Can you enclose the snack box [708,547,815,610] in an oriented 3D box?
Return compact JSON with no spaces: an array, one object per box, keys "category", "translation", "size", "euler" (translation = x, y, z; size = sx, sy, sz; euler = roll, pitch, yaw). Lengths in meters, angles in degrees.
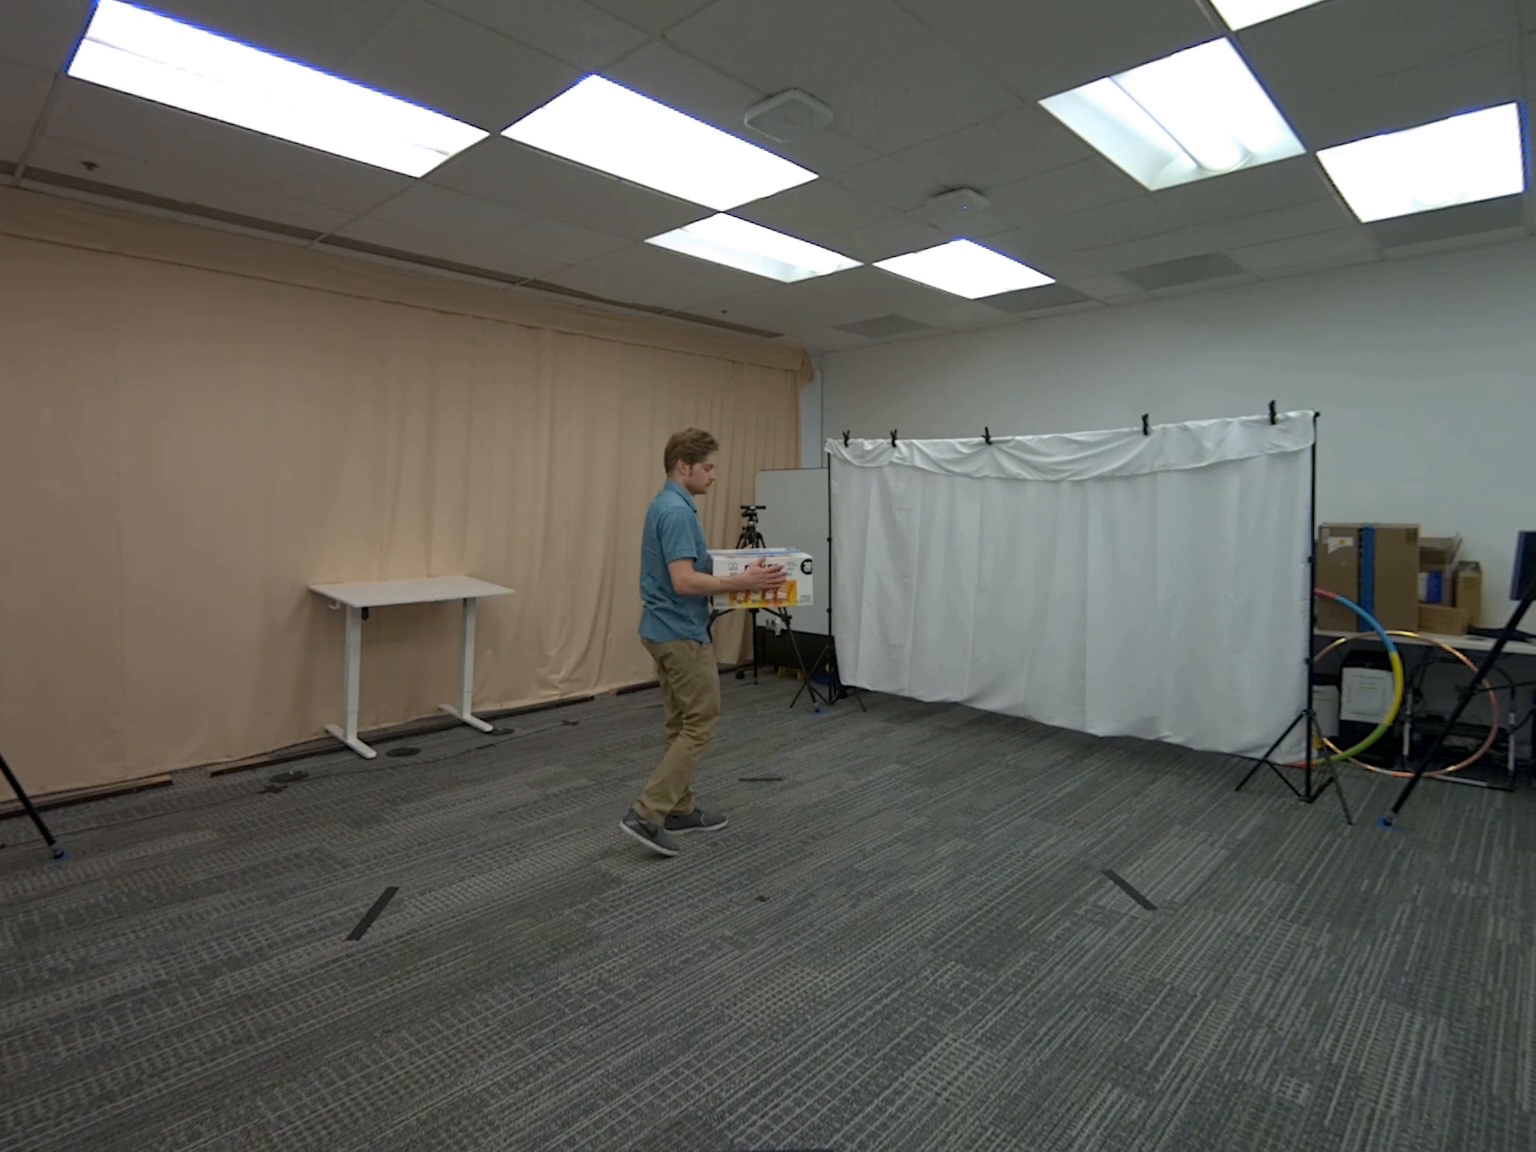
[{"category":"snack box","translation":[-0.046,0.002,3.523],"size":[0.402,0.205,0.344],"euler":[-2,7,-8]}]
